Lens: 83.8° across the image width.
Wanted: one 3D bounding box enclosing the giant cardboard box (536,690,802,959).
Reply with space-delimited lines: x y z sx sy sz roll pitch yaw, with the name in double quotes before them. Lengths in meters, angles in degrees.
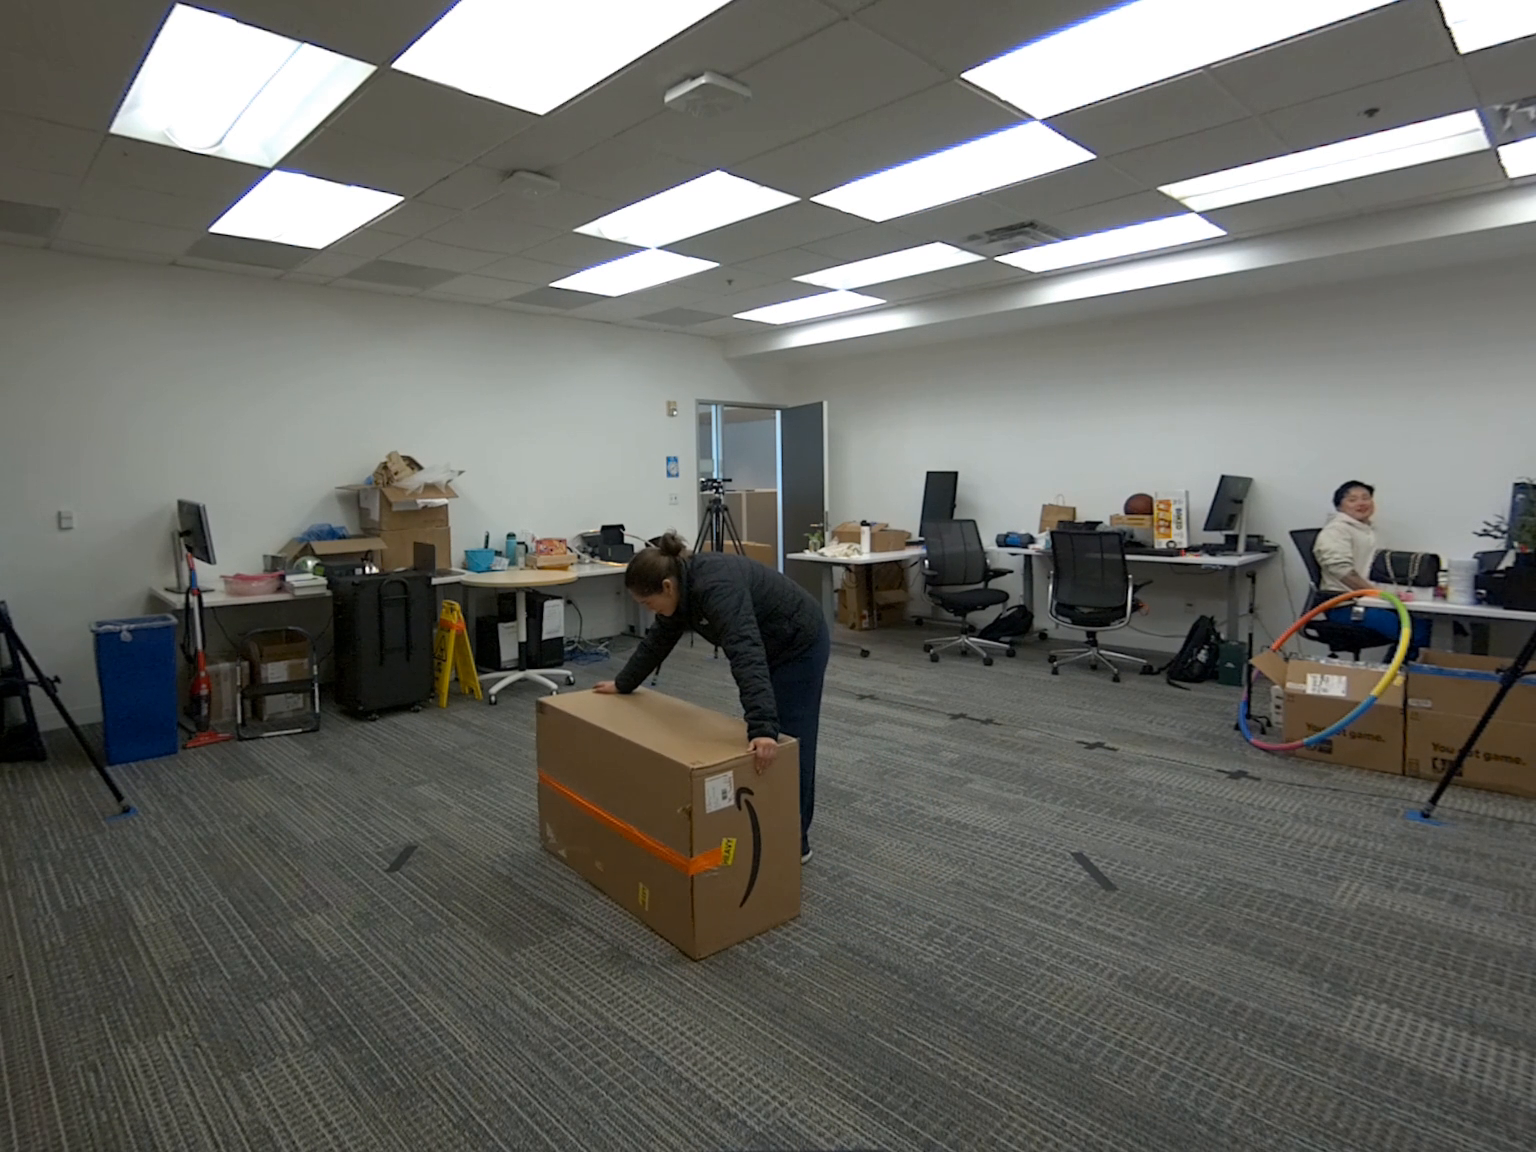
"giant cardboard box" -0.390 0.779 2.994 0.435 0.582 1.058 -3 5 -39
